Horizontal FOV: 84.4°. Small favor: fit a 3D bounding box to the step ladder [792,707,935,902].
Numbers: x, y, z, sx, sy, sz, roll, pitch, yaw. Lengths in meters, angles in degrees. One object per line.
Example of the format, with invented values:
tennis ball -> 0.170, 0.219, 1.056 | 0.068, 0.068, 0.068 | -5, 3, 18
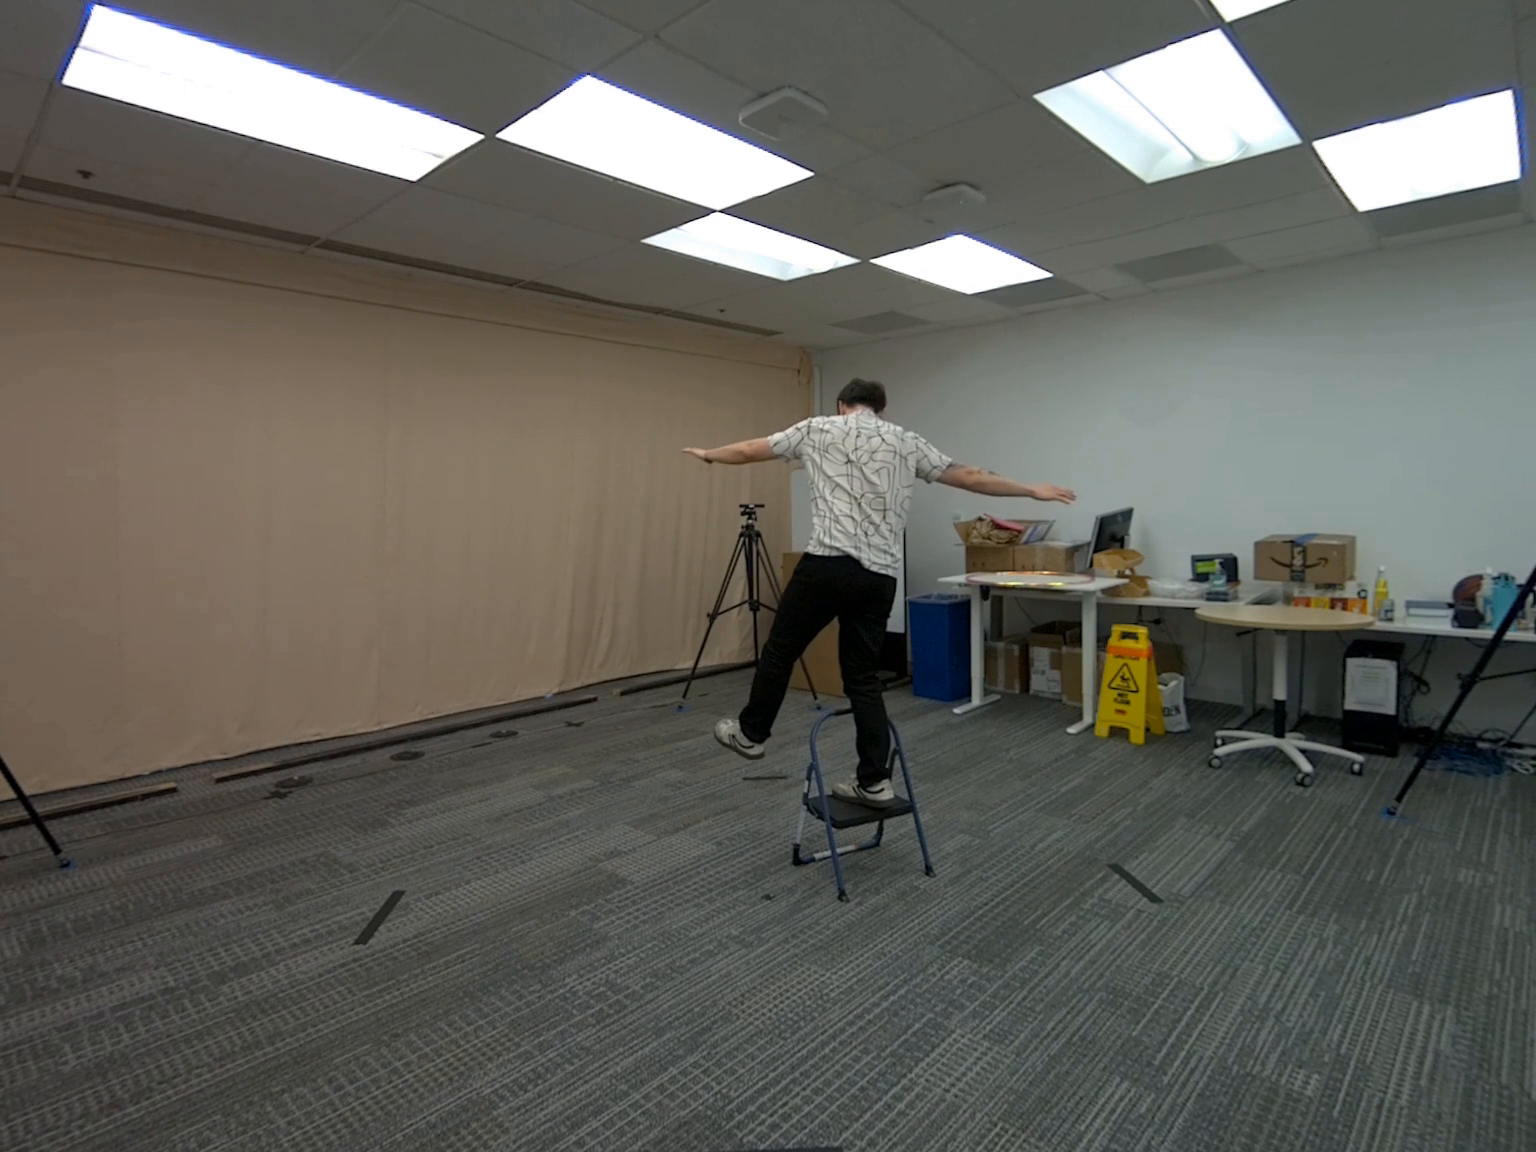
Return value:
step ladder -> 0.356, 0.813, 3.175 | 0.419, 0.605, 0.359 | -3, 4, -30
